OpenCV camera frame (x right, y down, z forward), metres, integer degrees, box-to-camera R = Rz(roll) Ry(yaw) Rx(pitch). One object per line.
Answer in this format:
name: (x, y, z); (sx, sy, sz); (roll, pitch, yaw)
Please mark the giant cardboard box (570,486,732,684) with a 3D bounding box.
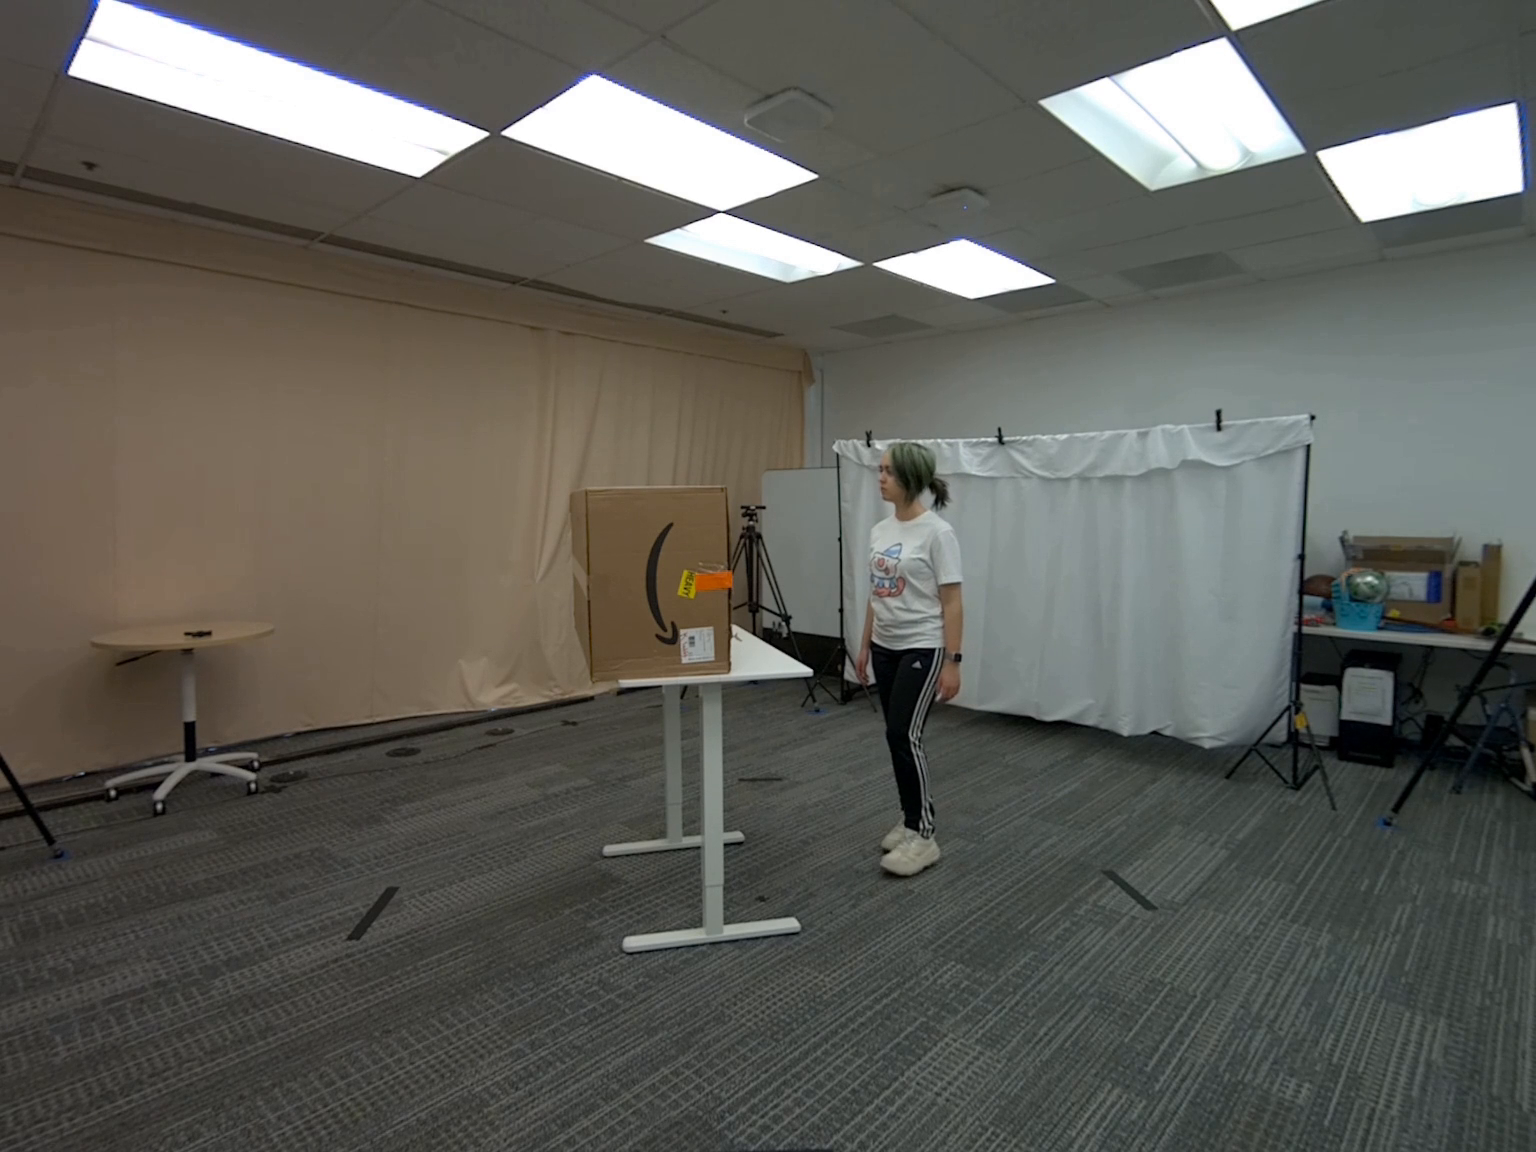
giant cardboard box: (-0.447, -0.022, 2.993); (0.440, 0.582, 1.045); (-2, 5, -15)
